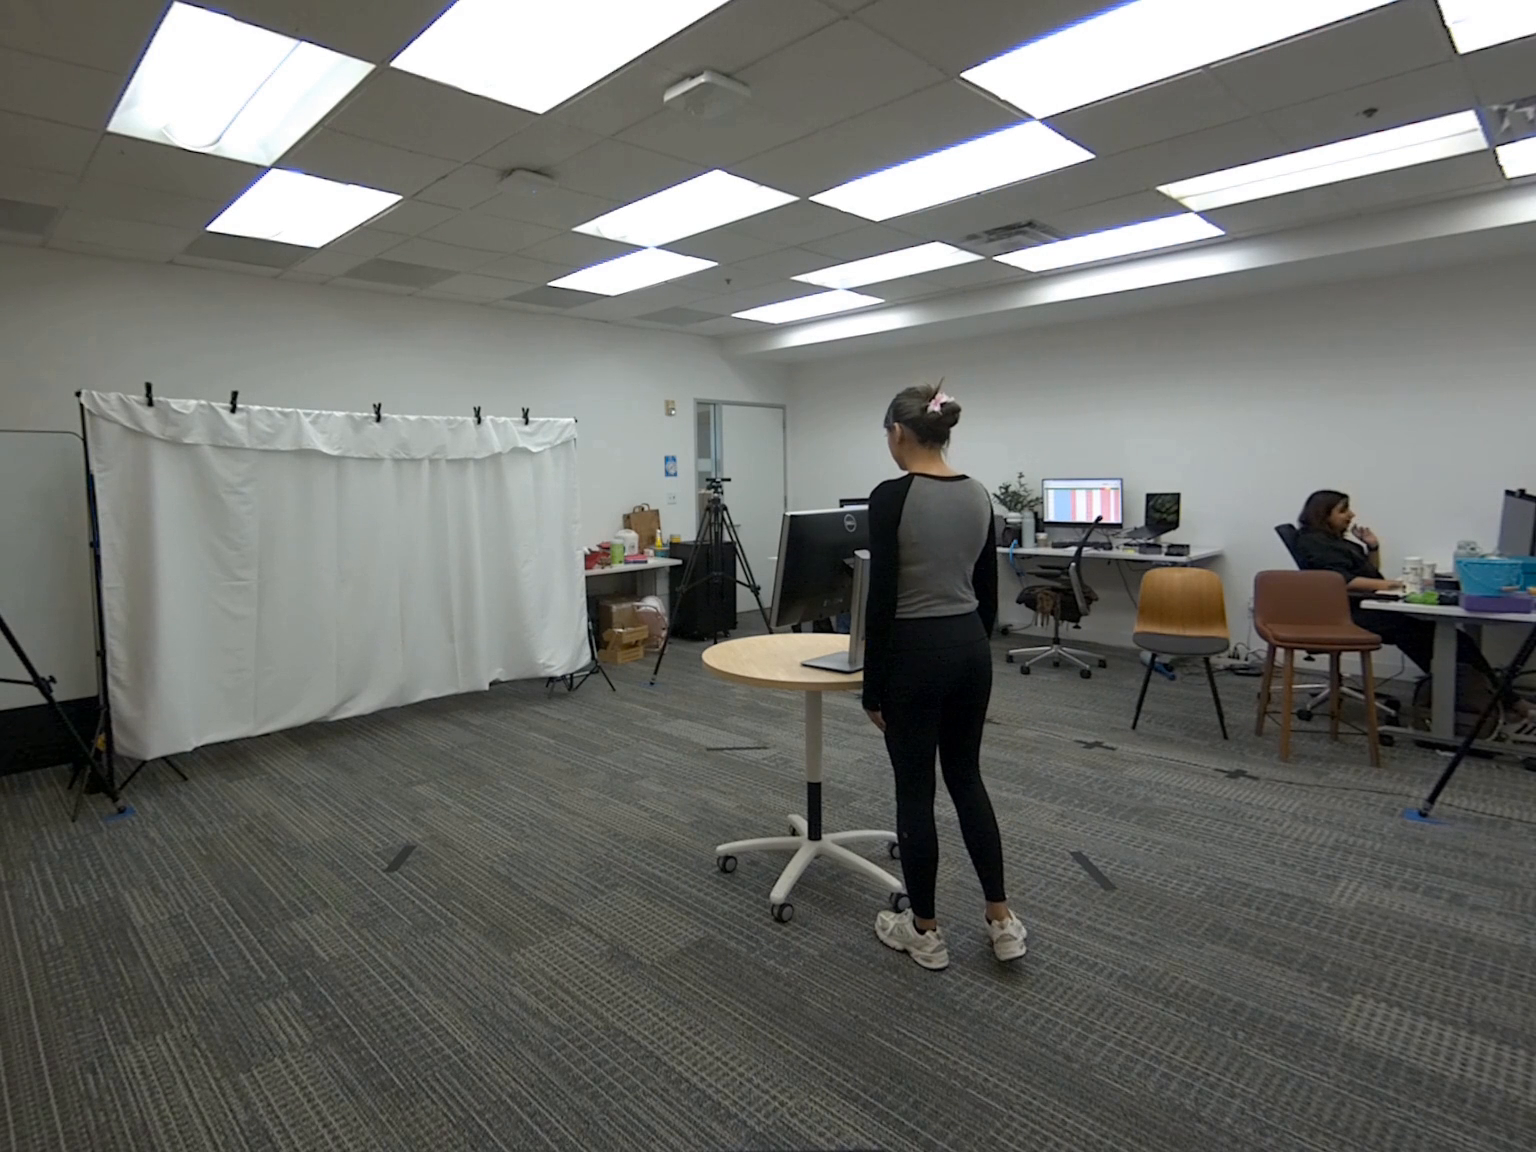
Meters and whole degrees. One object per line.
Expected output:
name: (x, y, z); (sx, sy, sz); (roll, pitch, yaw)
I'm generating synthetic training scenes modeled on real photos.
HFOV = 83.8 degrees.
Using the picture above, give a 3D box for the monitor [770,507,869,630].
monitor: (0.256, 0.042, 2.770); (0.192, 0.521, 0.525); (-1, 4, 43)
